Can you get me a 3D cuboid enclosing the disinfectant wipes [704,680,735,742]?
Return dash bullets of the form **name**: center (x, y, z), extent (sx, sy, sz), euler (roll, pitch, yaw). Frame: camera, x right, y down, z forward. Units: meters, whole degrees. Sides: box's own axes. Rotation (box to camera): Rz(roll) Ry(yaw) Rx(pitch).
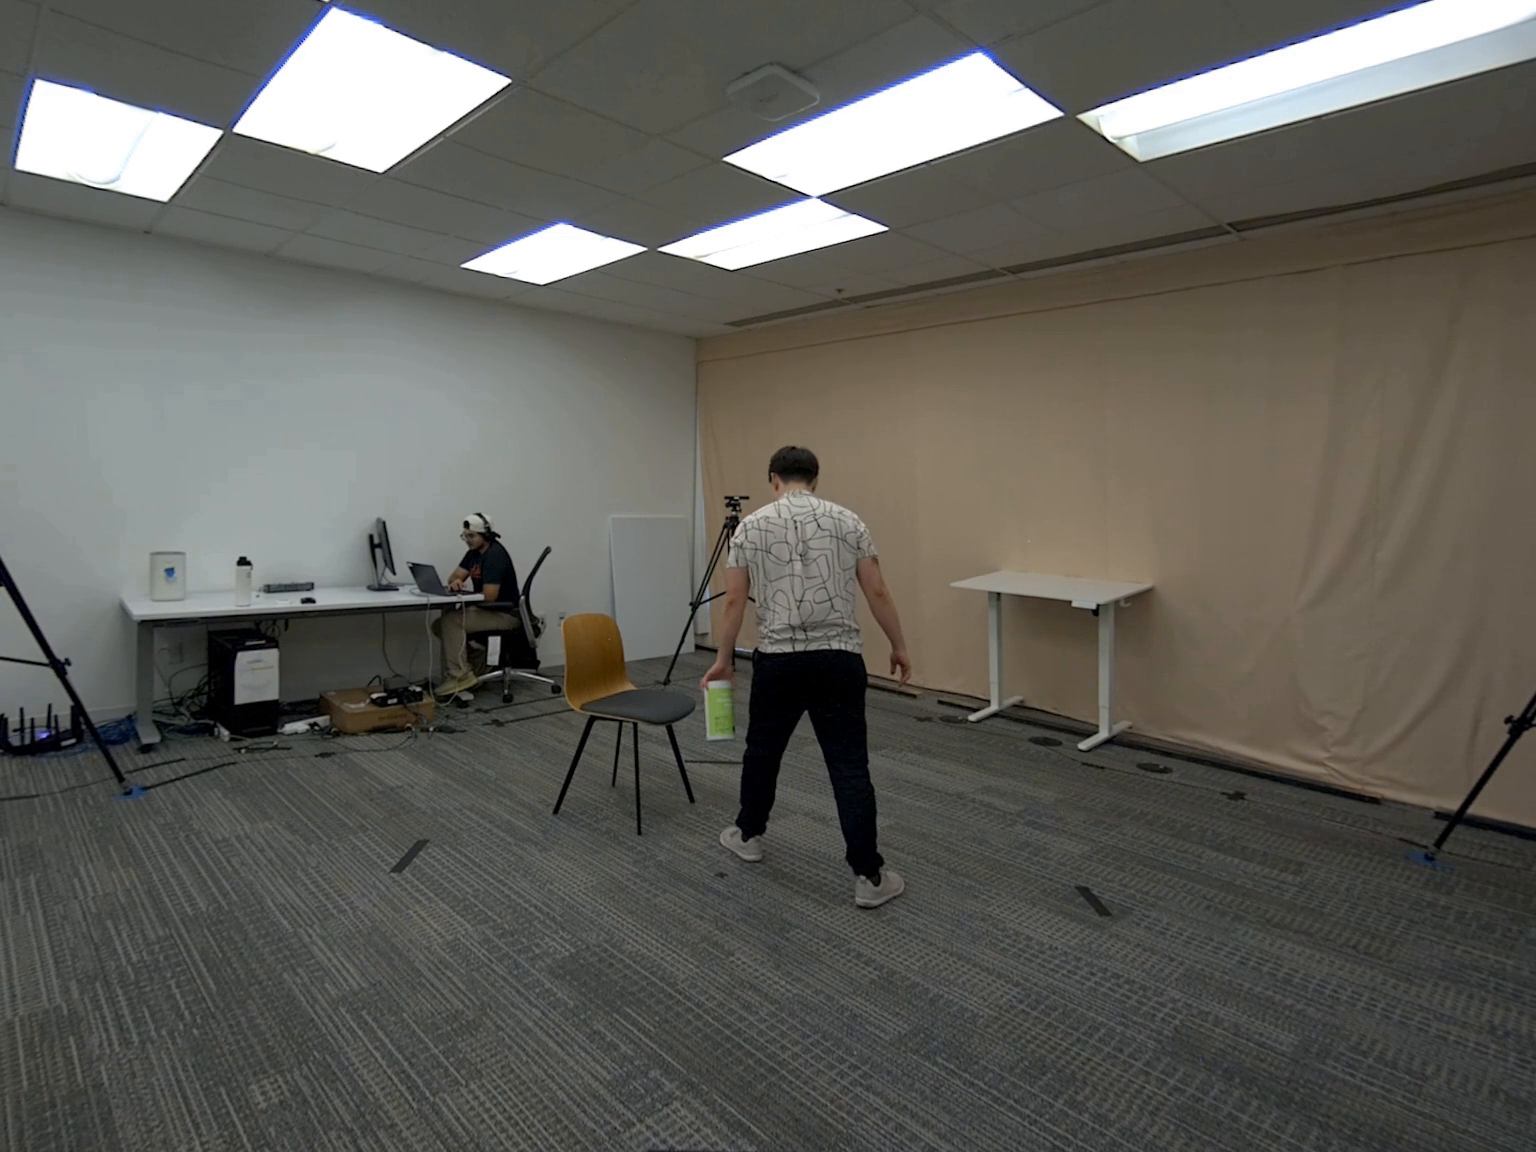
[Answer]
- **disinfectant wipes**: center (-0.180, 0.502, 3.118), extent (0.118, 0.219, 0.117), euler (-1, -12, -2)
